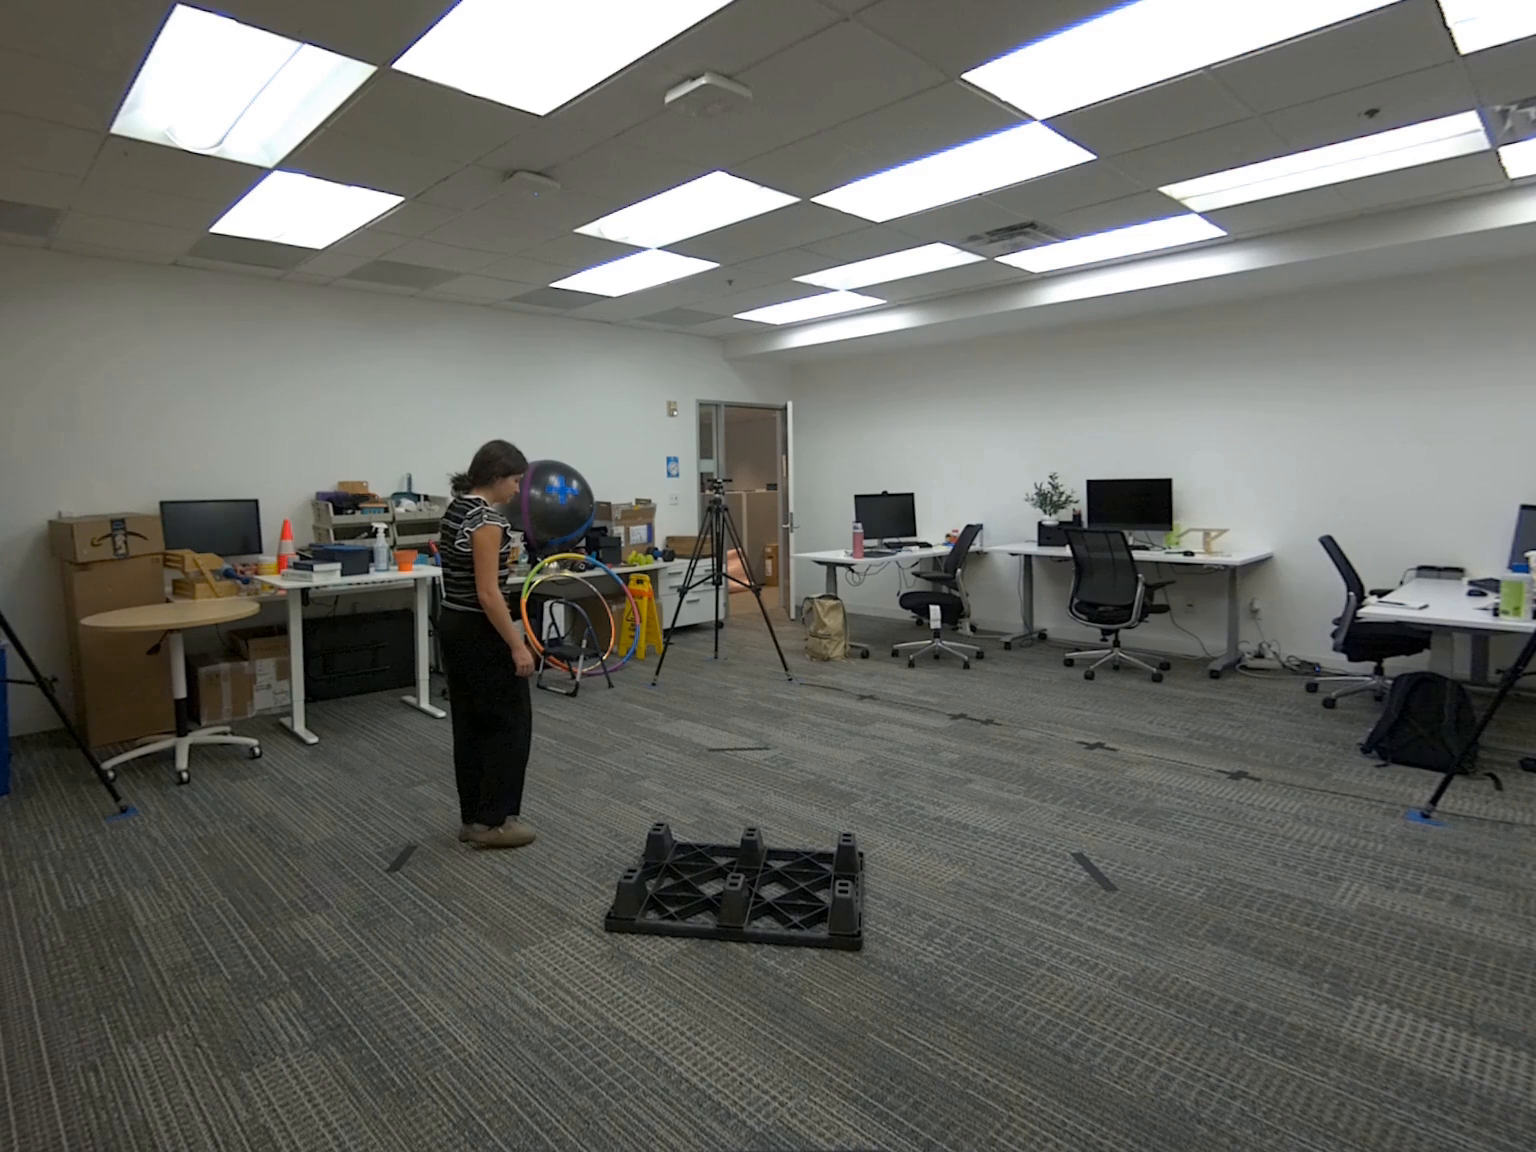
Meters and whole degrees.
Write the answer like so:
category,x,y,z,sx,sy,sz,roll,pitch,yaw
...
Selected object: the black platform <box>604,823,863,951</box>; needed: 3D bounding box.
category,x,y,z,sx,sy,sz,roll,pitch,yaw
black platform,-0.082,1.005,2.869,0.813,0.143,0.602,0,6,8
